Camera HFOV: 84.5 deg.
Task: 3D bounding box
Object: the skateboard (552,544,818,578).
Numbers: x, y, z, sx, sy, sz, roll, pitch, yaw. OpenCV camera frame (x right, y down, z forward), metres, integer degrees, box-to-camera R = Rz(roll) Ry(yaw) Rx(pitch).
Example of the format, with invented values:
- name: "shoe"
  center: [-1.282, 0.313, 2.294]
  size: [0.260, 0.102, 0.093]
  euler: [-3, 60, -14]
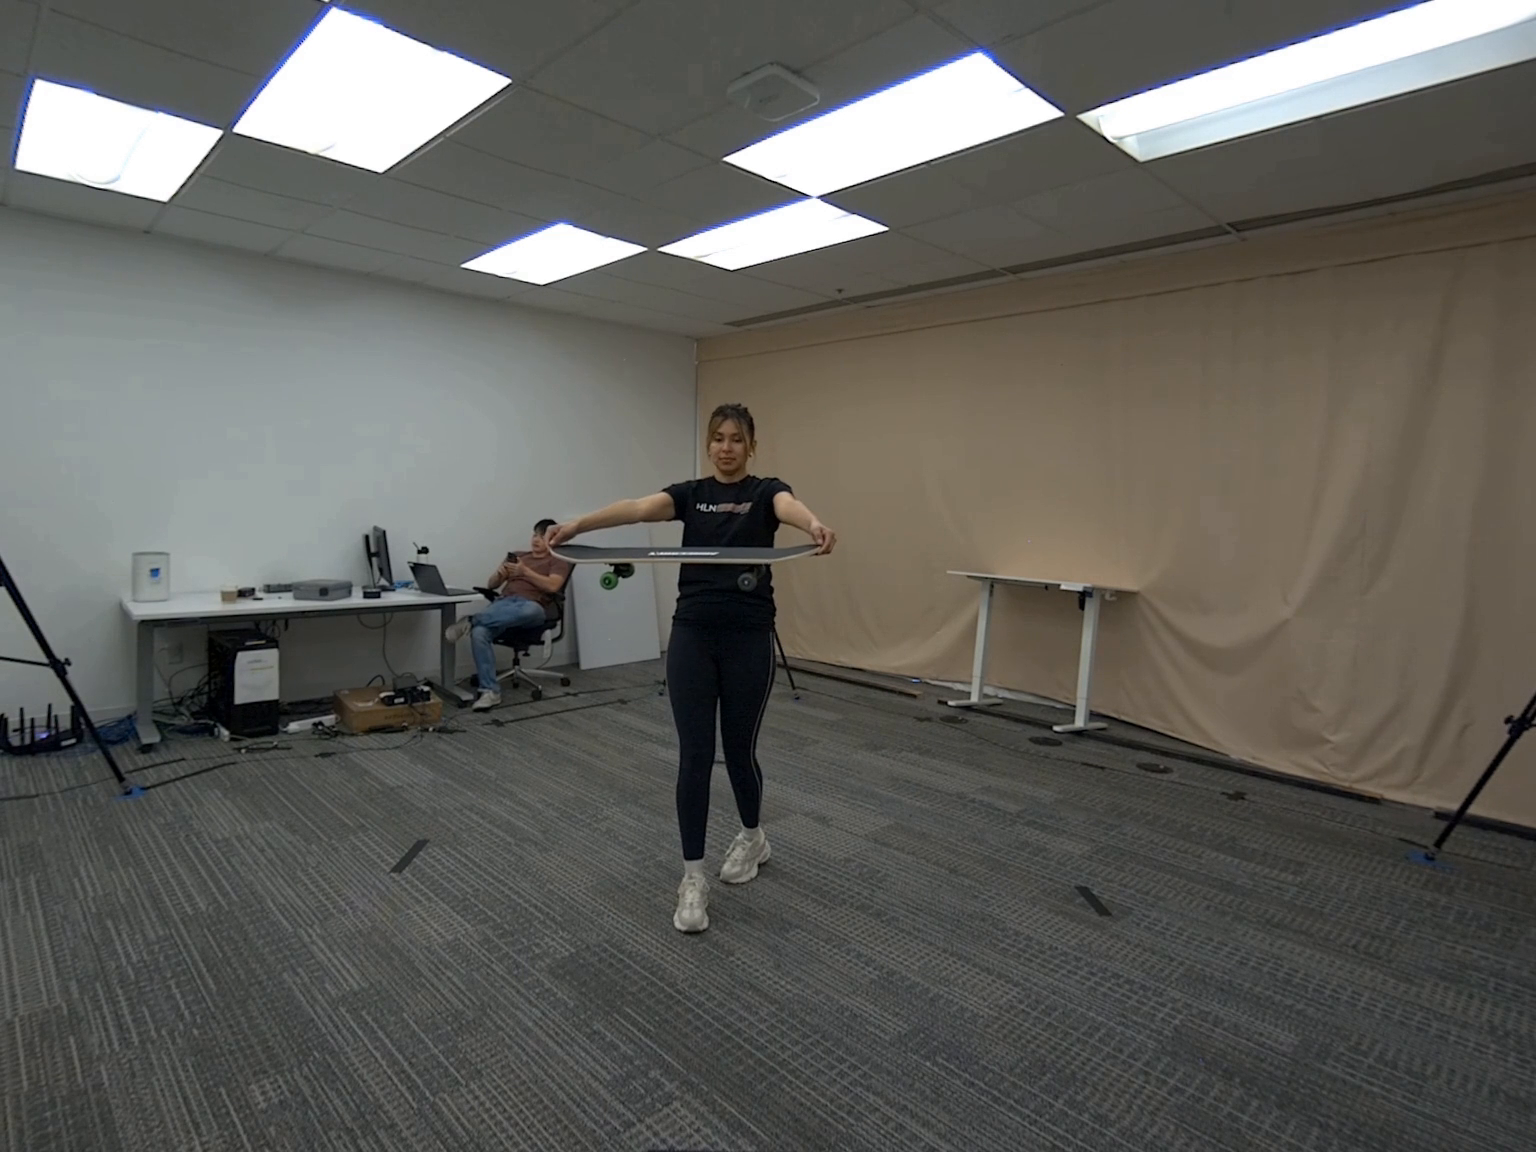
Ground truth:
- name: "skateboard"
  center: [-0.236, -0.026, 2.424]
  size: [0.792, 0.109, 0.193]
  euler: [0, 11, 10]
